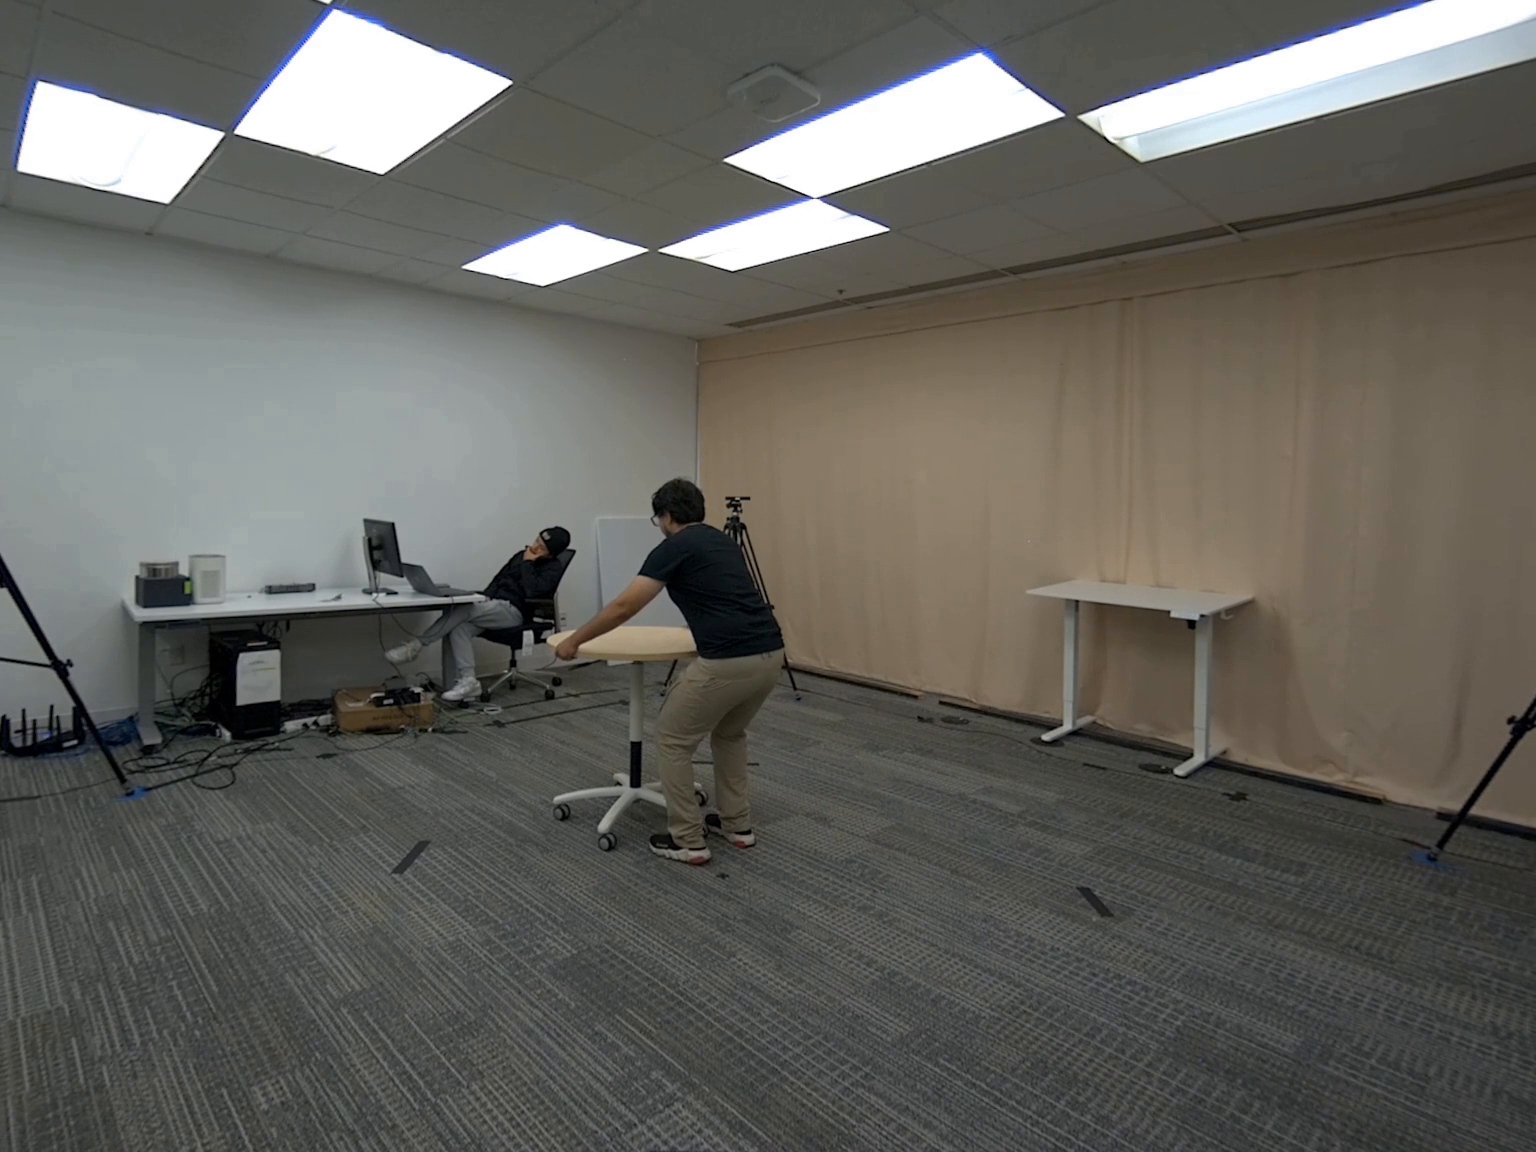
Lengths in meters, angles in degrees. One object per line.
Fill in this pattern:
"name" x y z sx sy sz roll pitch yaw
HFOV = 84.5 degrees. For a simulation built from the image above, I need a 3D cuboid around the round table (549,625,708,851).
"round table" -0.585 0.655 3.614 0.784 0.785 0.787 1 3 -1
